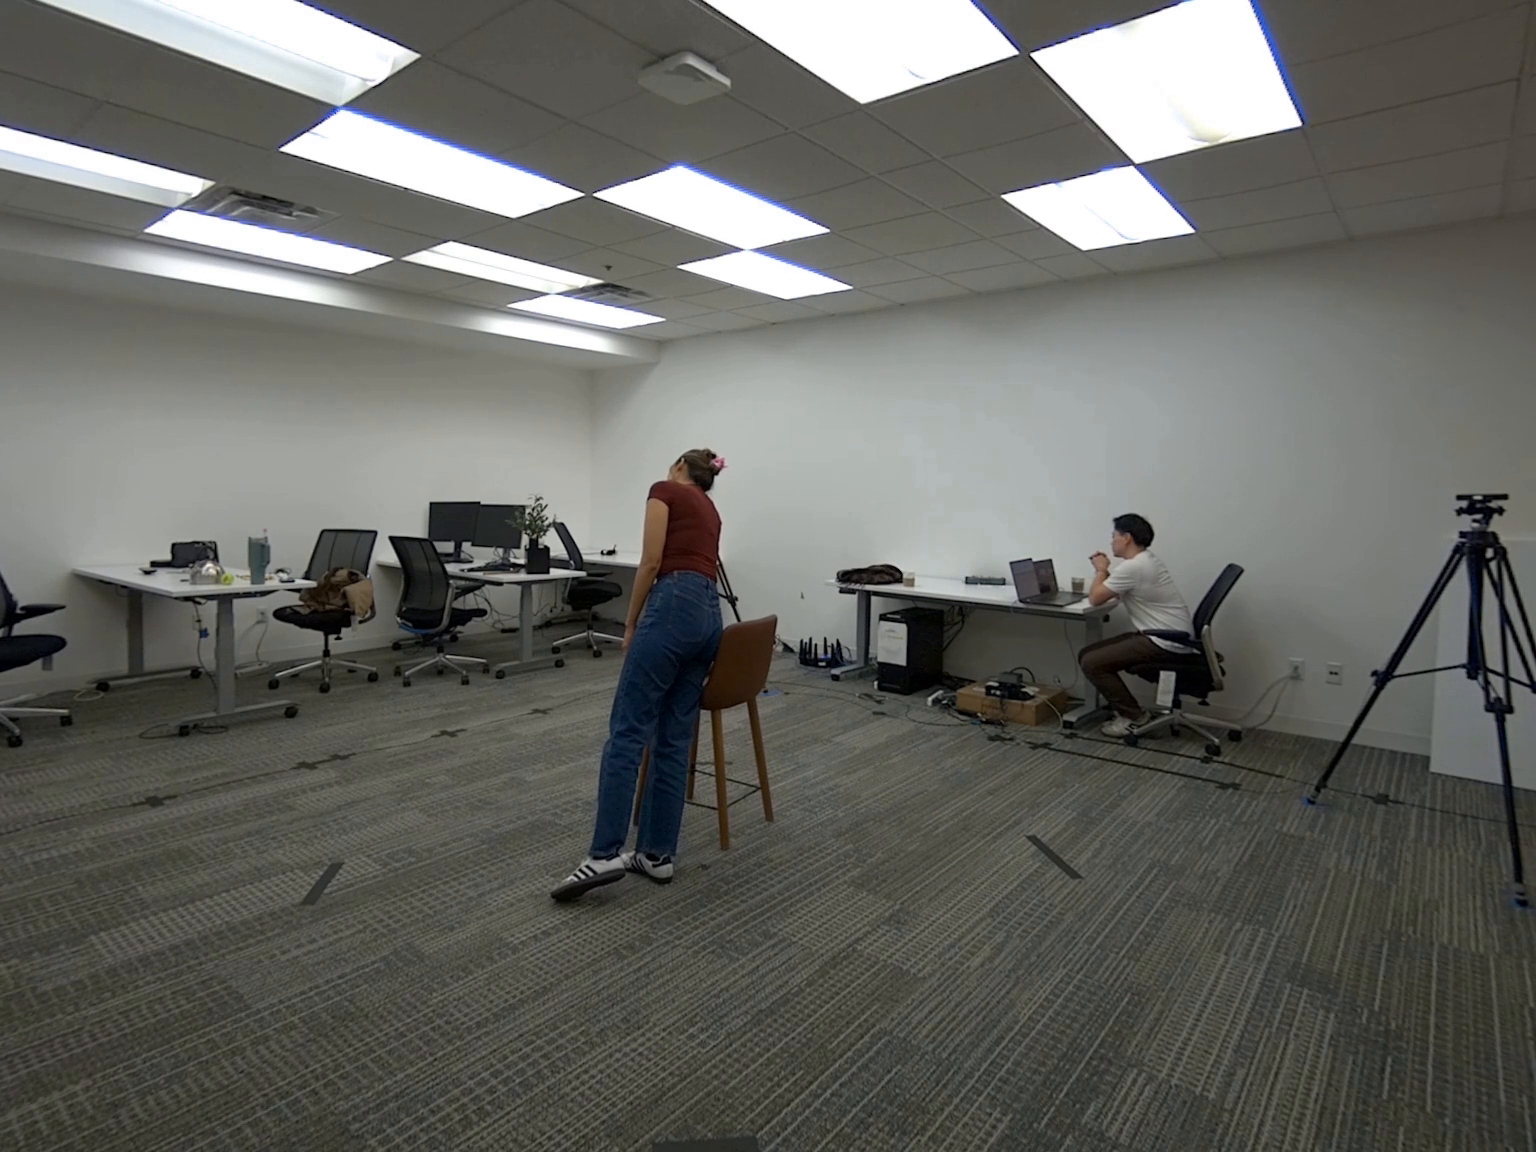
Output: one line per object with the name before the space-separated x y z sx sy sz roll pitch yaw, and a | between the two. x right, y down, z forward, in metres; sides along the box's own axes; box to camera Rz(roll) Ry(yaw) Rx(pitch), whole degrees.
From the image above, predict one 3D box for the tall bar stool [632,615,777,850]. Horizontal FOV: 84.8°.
tall bar stool | -0.254 0.593 3.525 0.482 0.887 0.444 5 4 31
